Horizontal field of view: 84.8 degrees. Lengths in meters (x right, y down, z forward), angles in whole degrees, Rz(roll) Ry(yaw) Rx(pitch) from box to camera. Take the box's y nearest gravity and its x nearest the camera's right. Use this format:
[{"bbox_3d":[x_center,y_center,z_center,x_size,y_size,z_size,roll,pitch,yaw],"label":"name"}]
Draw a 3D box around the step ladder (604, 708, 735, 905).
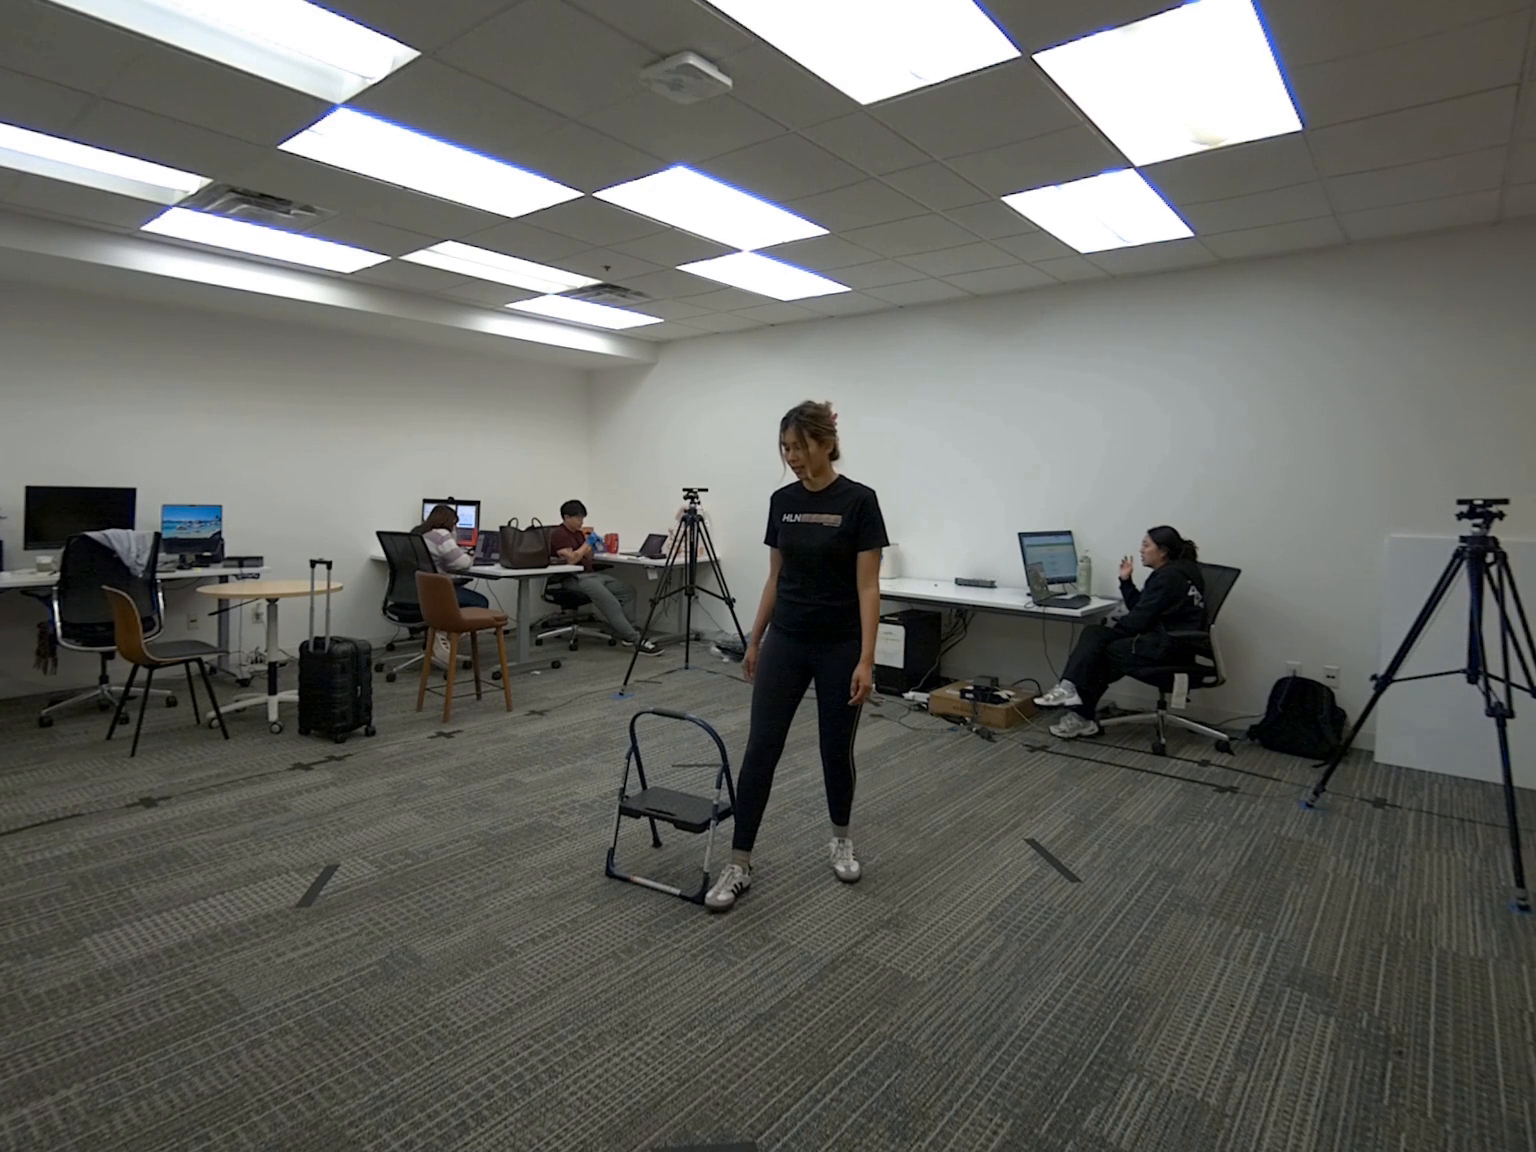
[{"bbox_3d":[-0.331,0.768,3.070,0.442,0.605,0.340,2,2,28],"label":"step ladder"}]
